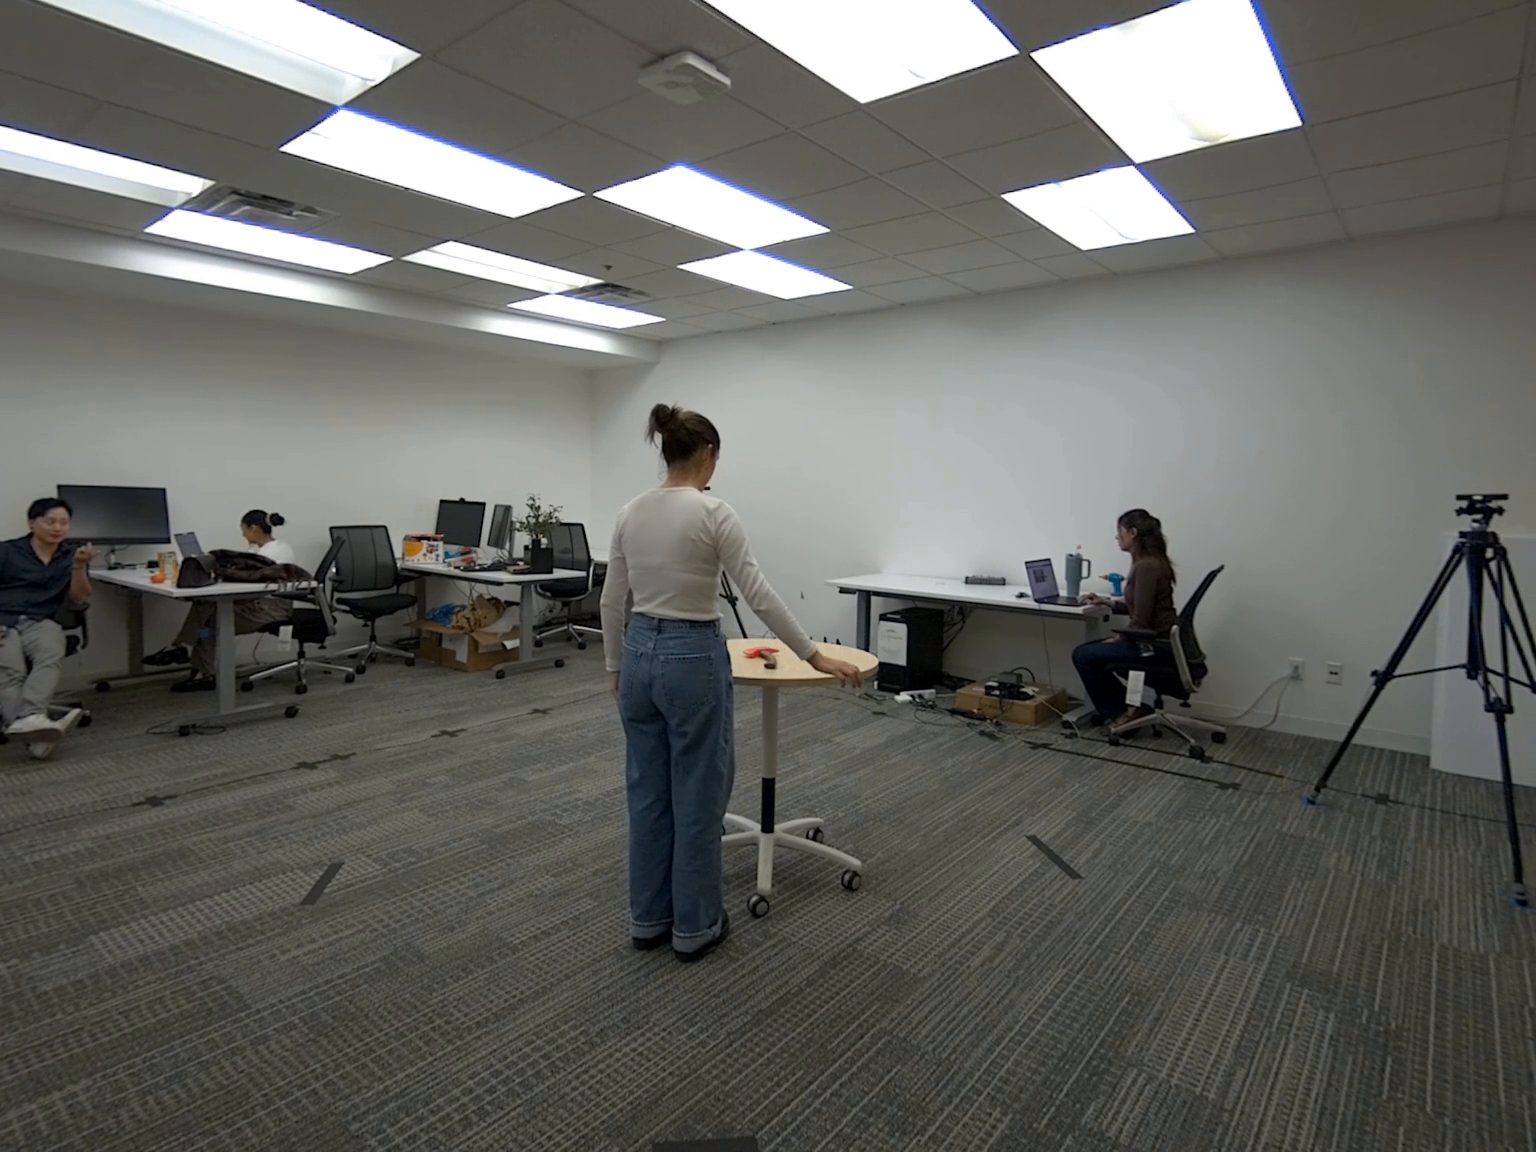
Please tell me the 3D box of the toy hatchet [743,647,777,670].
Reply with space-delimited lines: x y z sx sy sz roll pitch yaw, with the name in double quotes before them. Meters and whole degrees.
"toy hatchet" -0.037 0.283 2.987 0.132 0.029 0.270 0 6 4
